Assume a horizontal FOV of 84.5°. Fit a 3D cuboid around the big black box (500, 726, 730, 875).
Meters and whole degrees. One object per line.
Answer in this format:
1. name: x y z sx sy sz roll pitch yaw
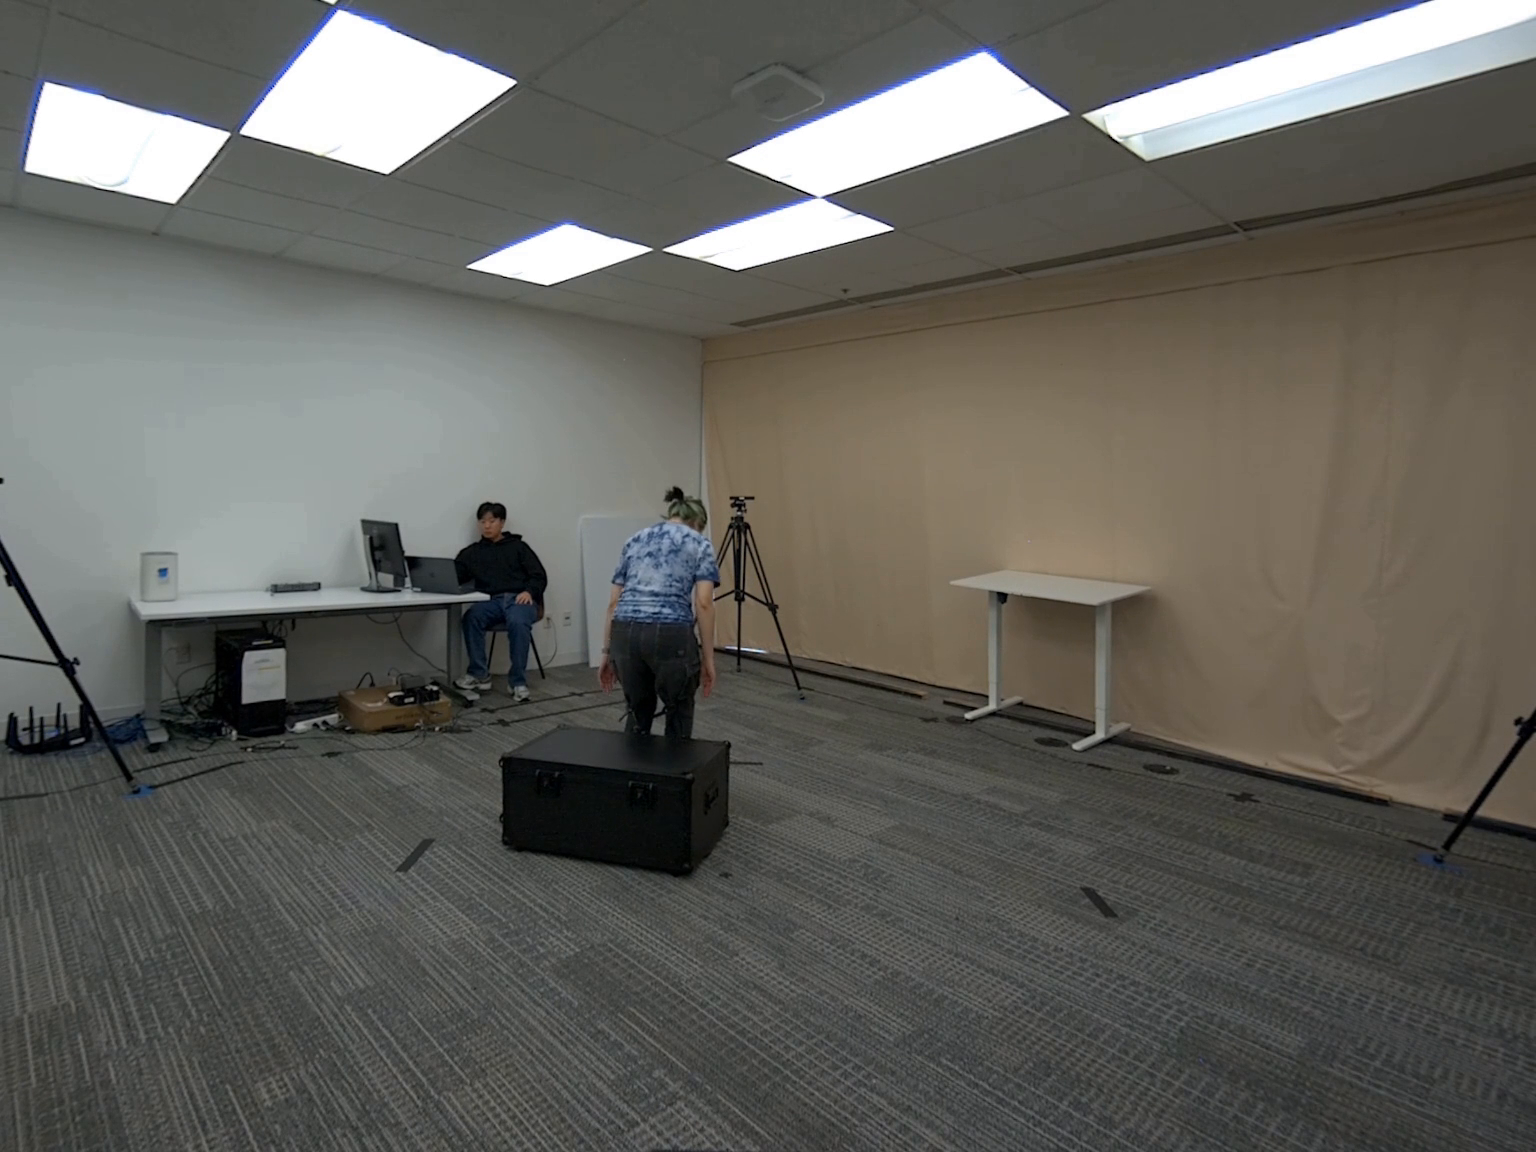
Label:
1. big black box: -0.632 0.873 3.391 0.873 0.395 0.516 3 5 15
